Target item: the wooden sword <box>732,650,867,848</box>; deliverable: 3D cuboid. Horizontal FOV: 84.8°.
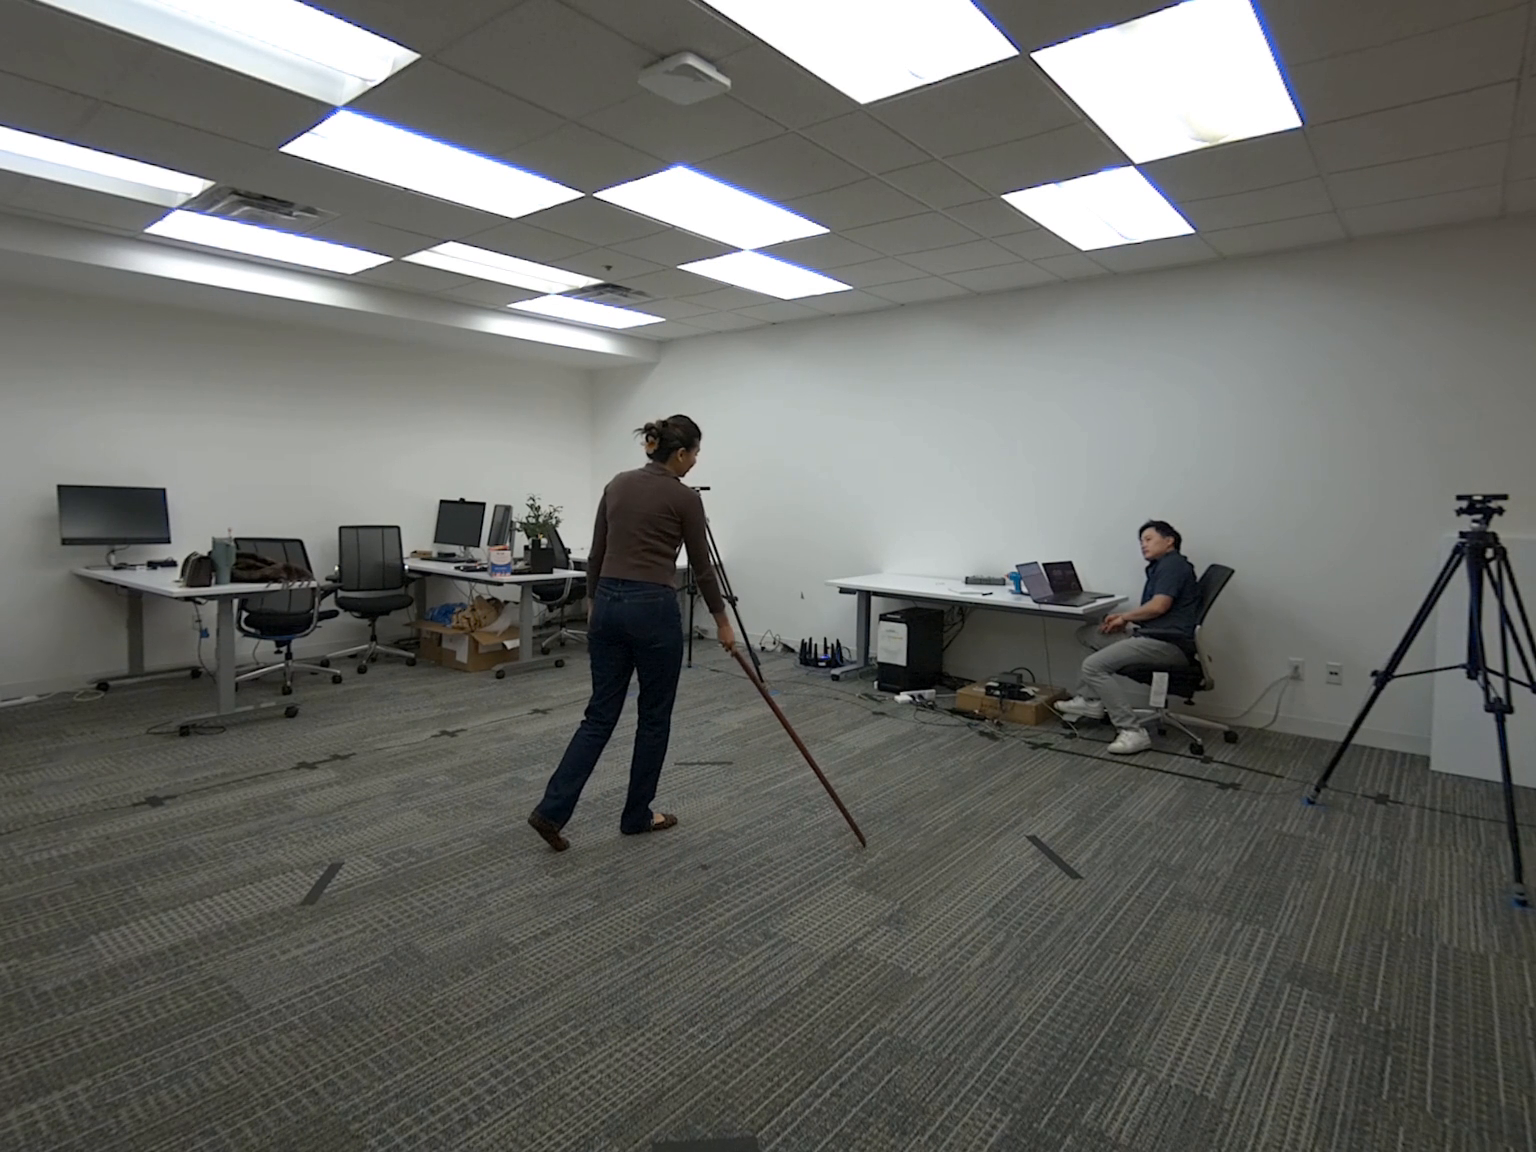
[{"bbox_3d":[0.096,0.648,3.420,0.024,1.043,0.050,-35,-13,-1],"label":"wooden sword"}]
